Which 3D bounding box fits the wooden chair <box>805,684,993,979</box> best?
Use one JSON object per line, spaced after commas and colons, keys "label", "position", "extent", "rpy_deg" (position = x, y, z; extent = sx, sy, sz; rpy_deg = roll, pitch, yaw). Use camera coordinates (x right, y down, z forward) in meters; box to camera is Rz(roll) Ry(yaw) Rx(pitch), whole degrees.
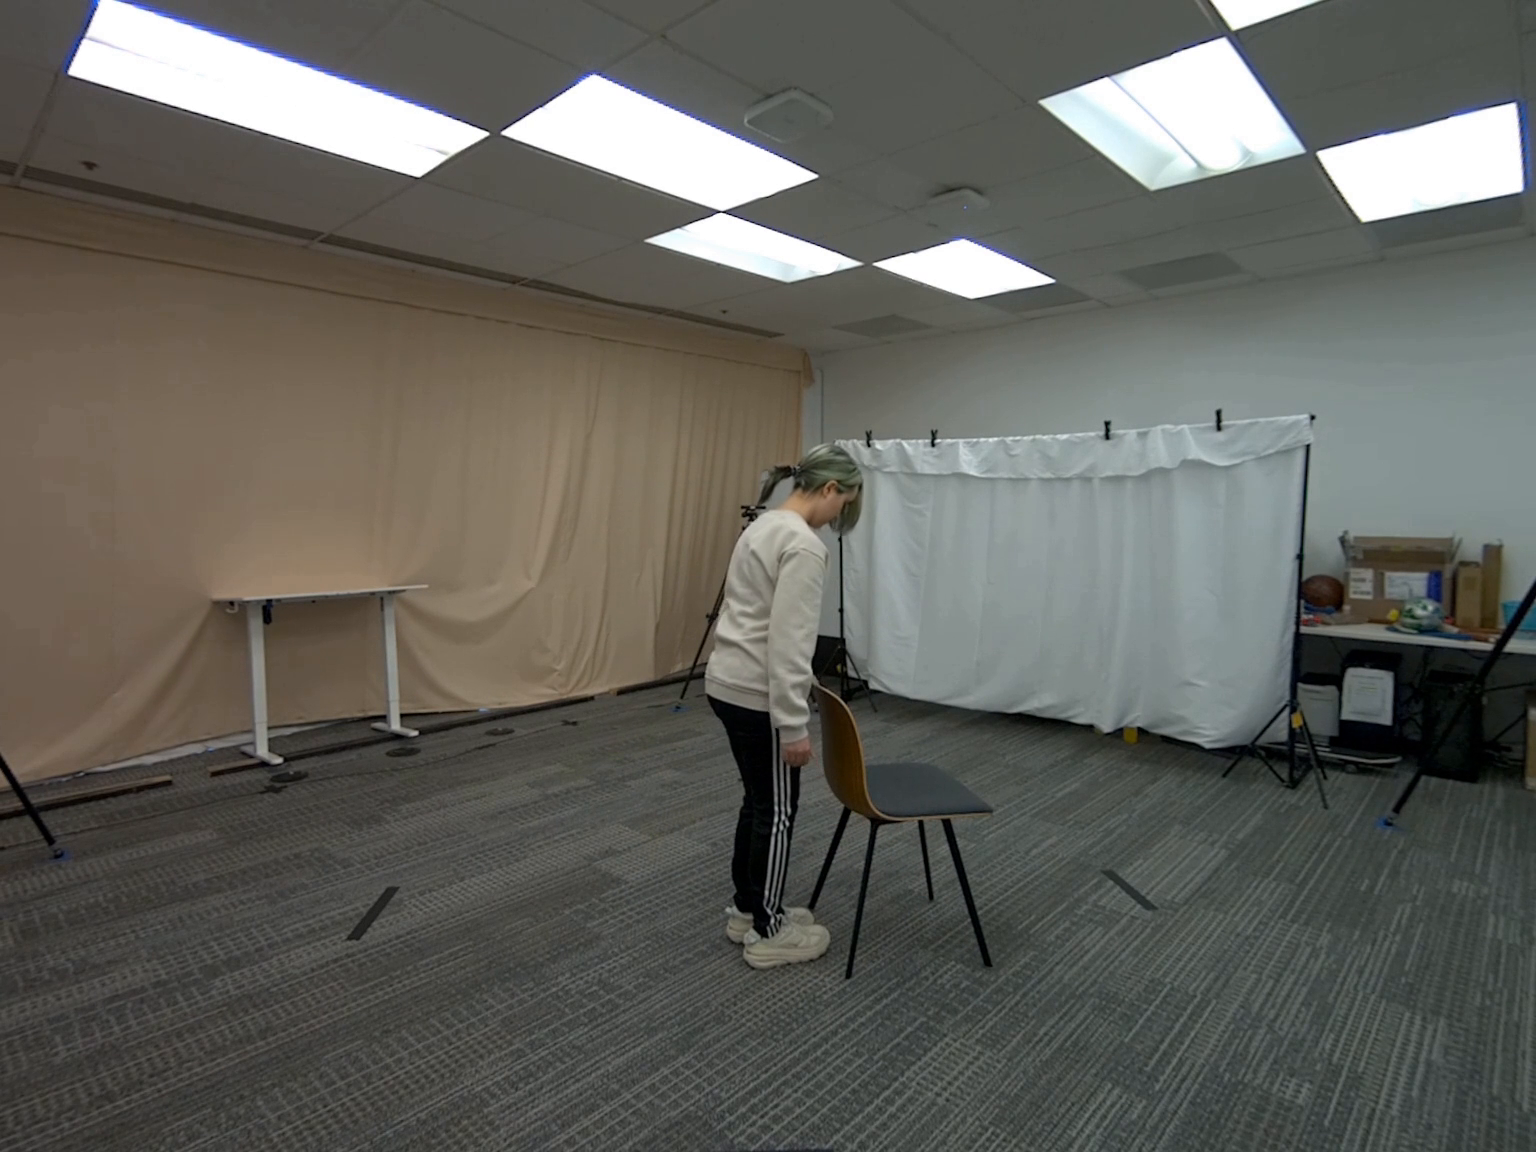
{"label": "wooden chair", "position": [0.423, 0.739, 2.704], "extent": [0.517, 0.875, 0.484], "rpy_deg": [-5, 3, -11]}
